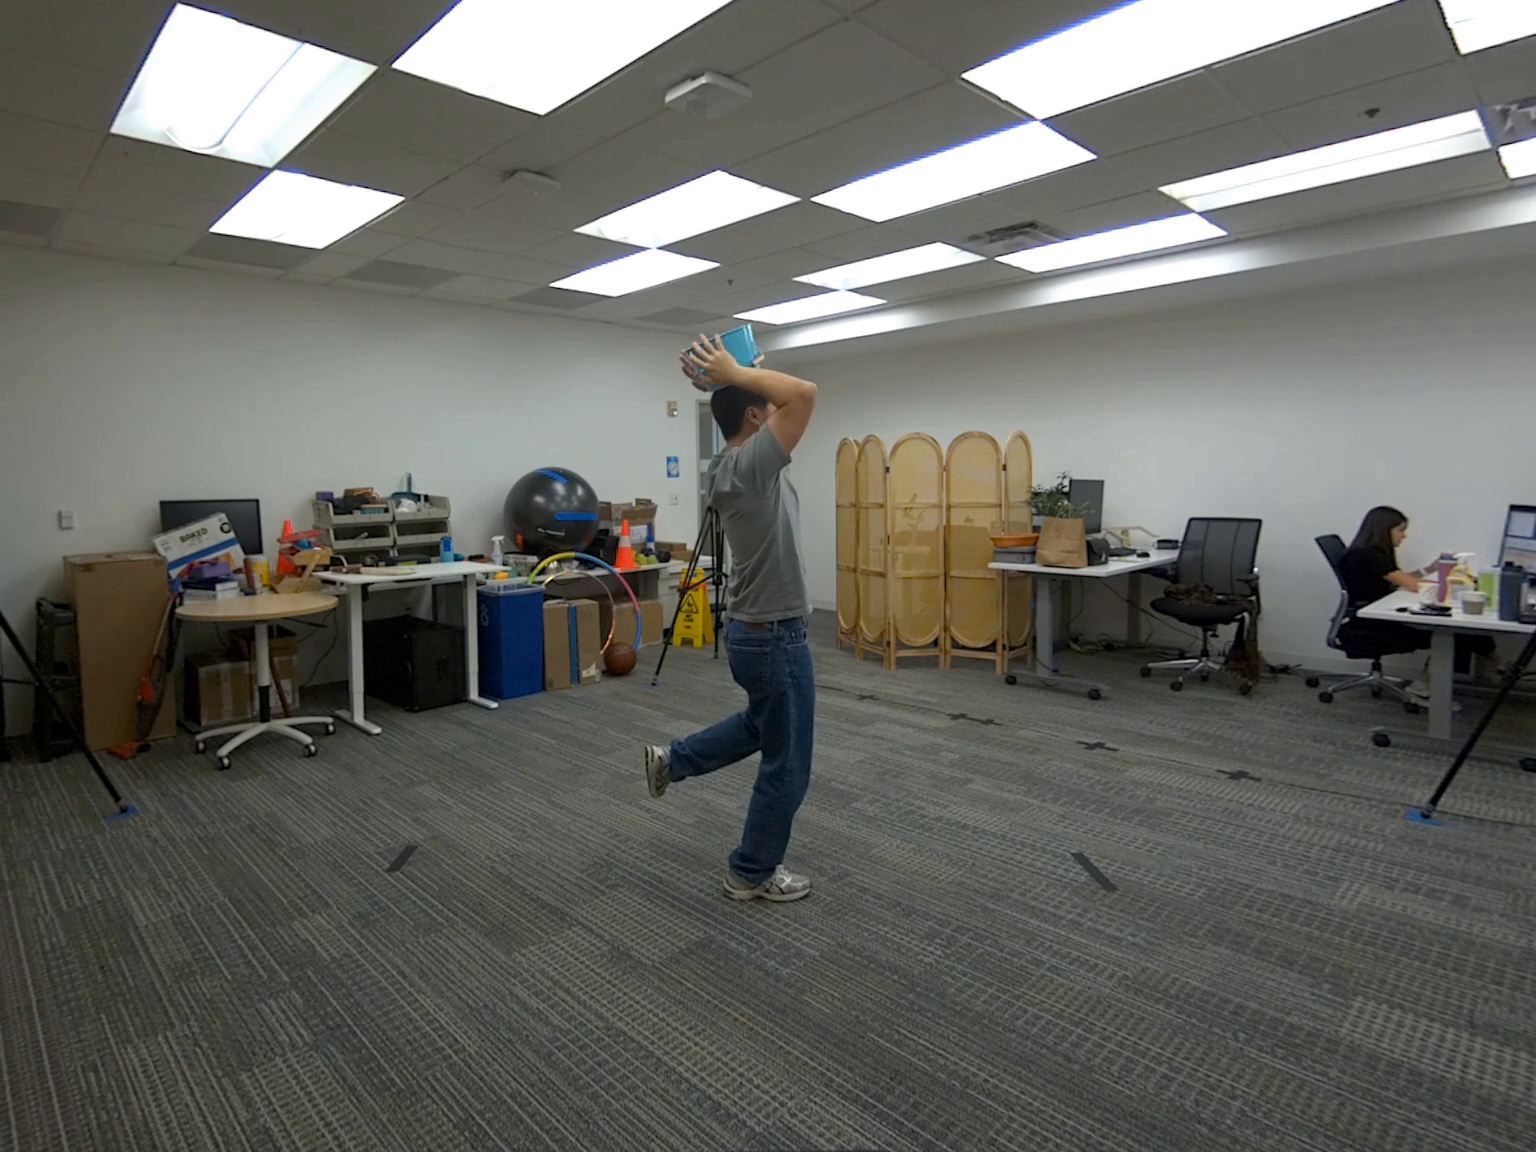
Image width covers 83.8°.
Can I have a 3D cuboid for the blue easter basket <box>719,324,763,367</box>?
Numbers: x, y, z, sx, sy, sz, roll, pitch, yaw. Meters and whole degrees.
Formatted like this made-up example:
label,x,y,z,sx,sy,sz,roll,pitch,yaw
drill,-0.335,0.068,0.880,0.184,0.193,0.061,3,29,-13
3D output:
label,x,y,z,sx,sy,sz,roll,pitch,yaw
blue easter basket,-0.139,-0.687,2.738,0.244,0.154,0.246,-23,13,3
